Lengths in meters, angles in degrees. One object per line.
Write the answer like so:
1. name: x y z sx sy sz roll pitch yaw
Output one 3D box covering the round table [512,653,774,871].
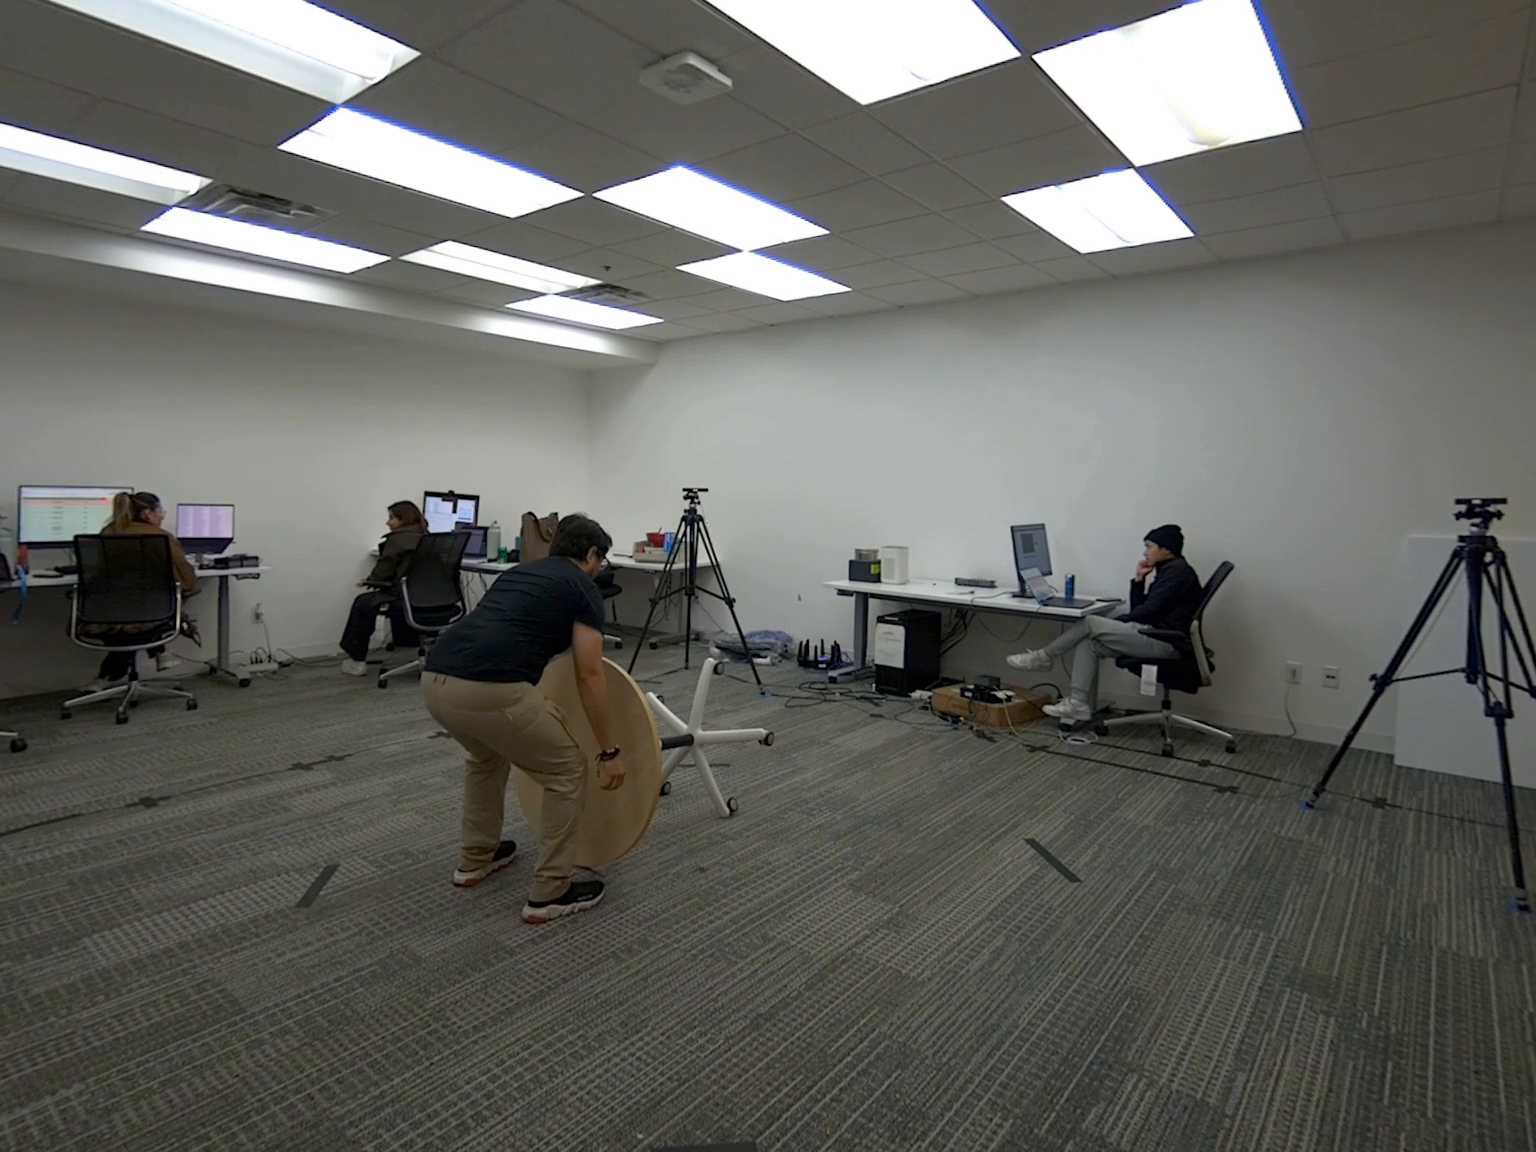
1. round table: -0.492 0.695 3.464 0.811 0.787 0.760 4 -2 36
